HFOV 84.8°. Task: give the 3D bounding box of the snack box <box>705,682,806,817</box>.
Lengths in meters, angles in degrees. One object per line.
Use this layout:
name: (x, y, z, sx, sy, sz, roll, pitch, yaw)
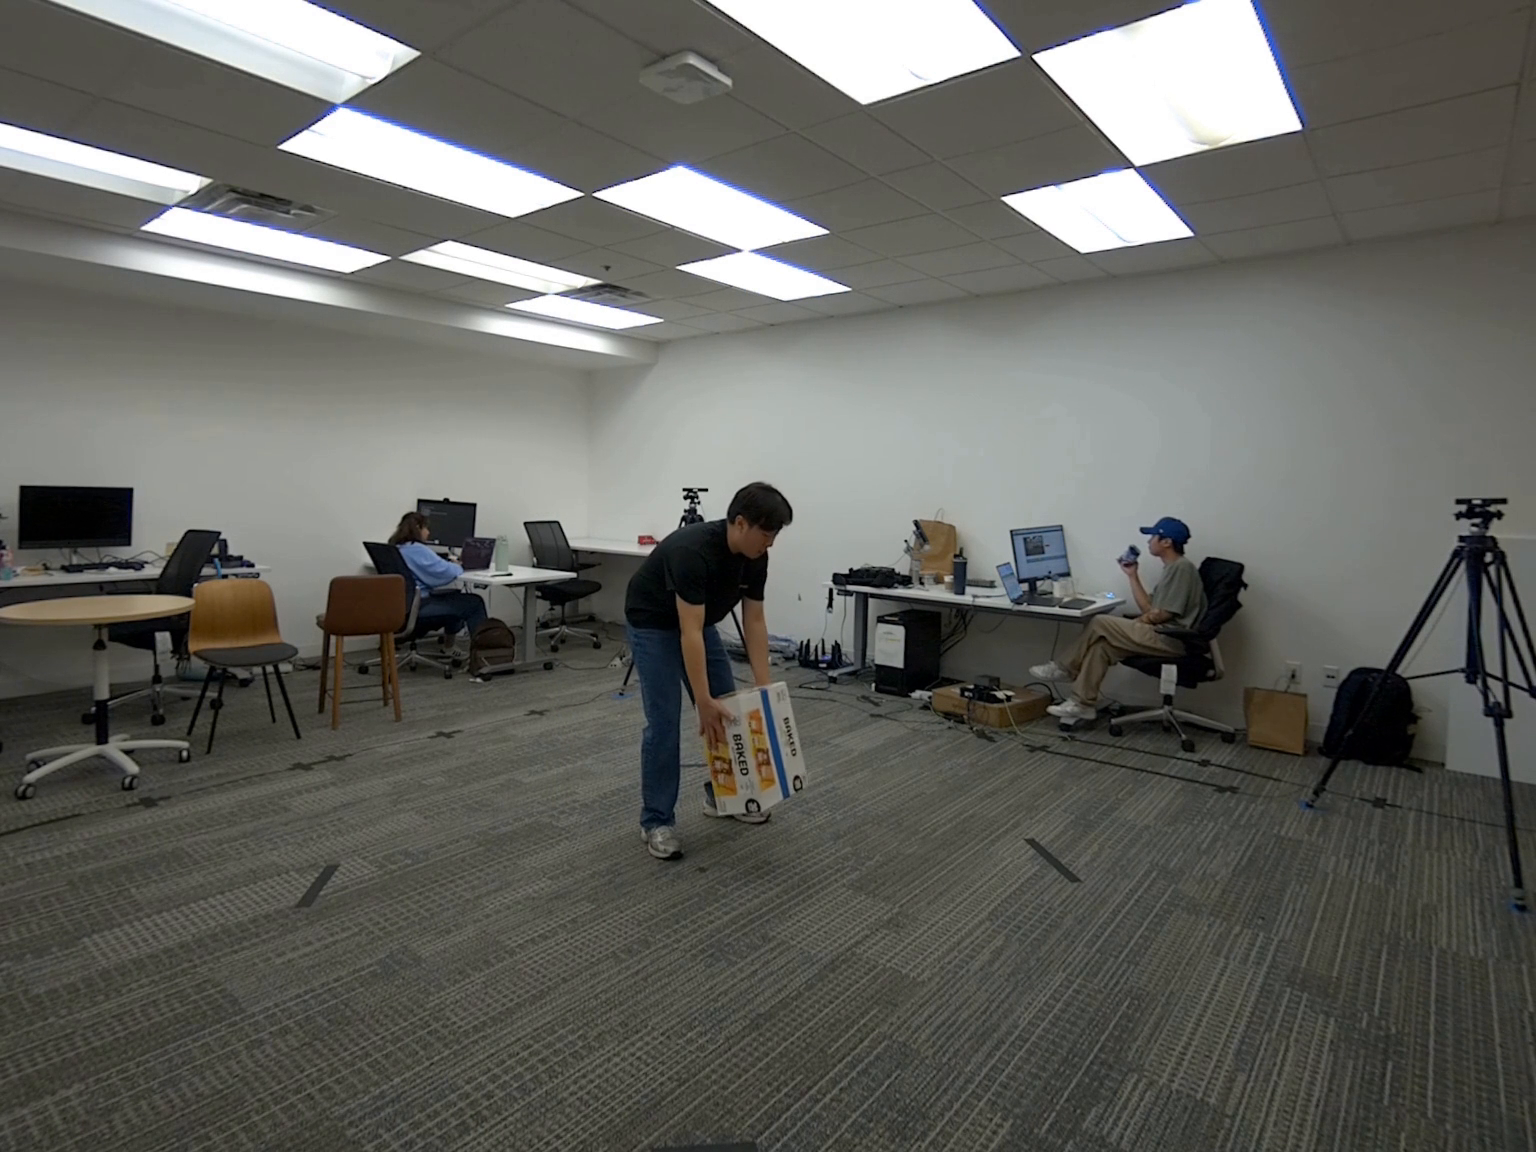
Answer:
snack box: (-0.064, 0.629, 3.181, 0.210, 0.408, 0.331, -16, -6, 32)
